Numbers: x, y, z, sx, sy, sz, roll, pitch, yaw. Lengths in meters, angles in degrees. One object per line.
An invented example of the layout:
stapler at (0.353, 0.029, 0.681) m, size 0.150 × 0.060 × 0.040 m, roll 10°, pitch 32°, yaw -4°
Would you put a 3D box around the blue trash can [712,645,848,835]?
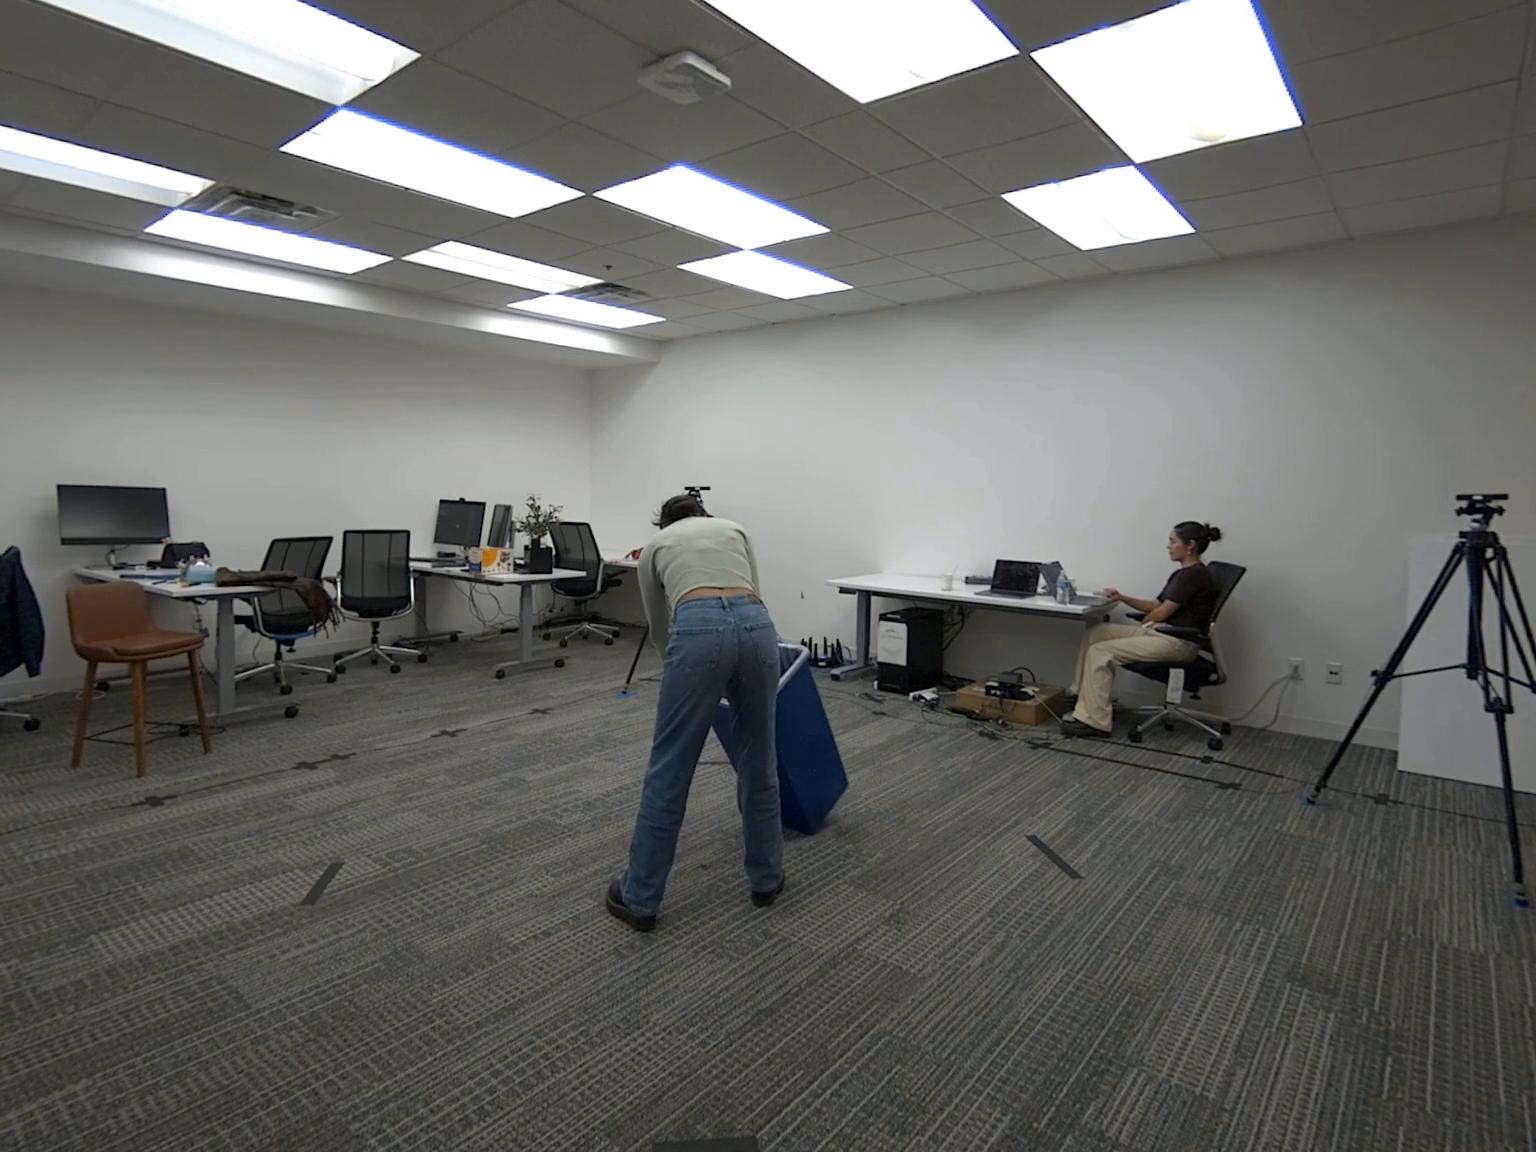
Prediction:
blue trash can at (0.016, 0.656, 3.433) m, size 0.391 × 0.693 × 0.372 m, roll 4°, pitch 34°, yaw 43°
